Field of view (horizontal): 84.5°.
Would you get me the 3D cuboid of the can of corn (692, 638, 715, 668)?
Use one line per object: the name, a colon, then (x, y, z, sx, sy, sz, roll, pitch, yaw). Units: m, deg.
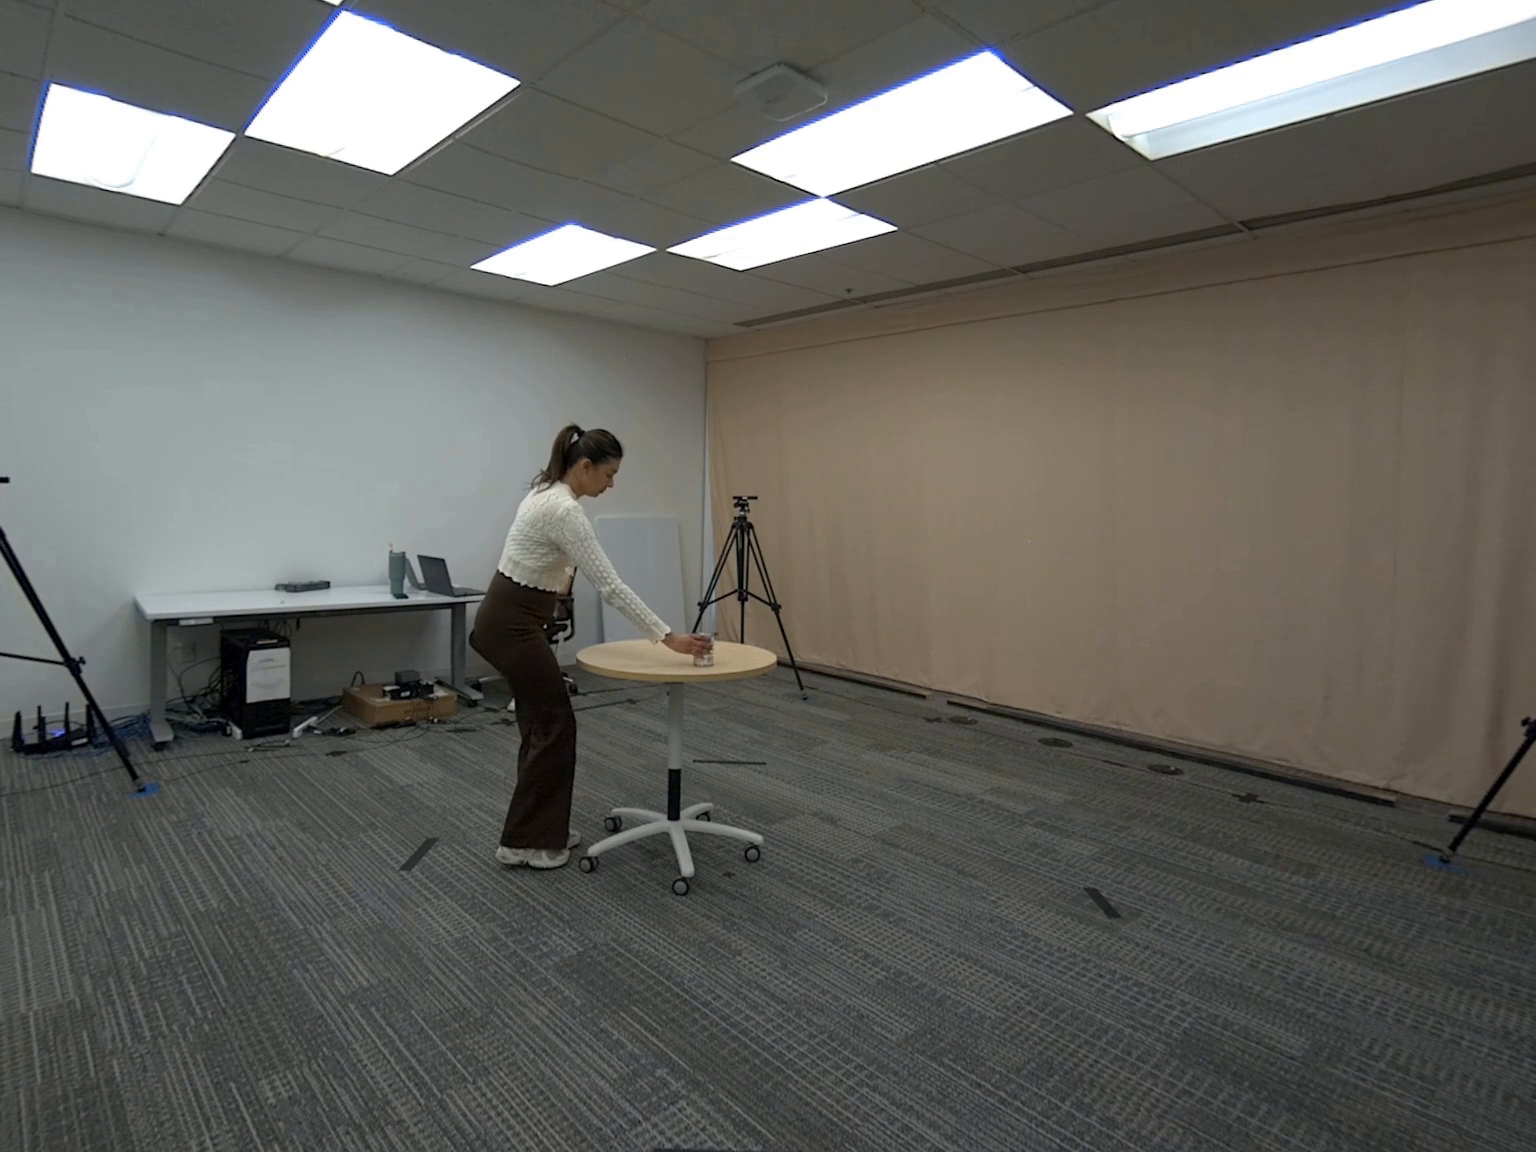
can of corn: (-0.241, 0.268, 3.028, 0.074, 0.111, 0.074, 0, 2, -1)
